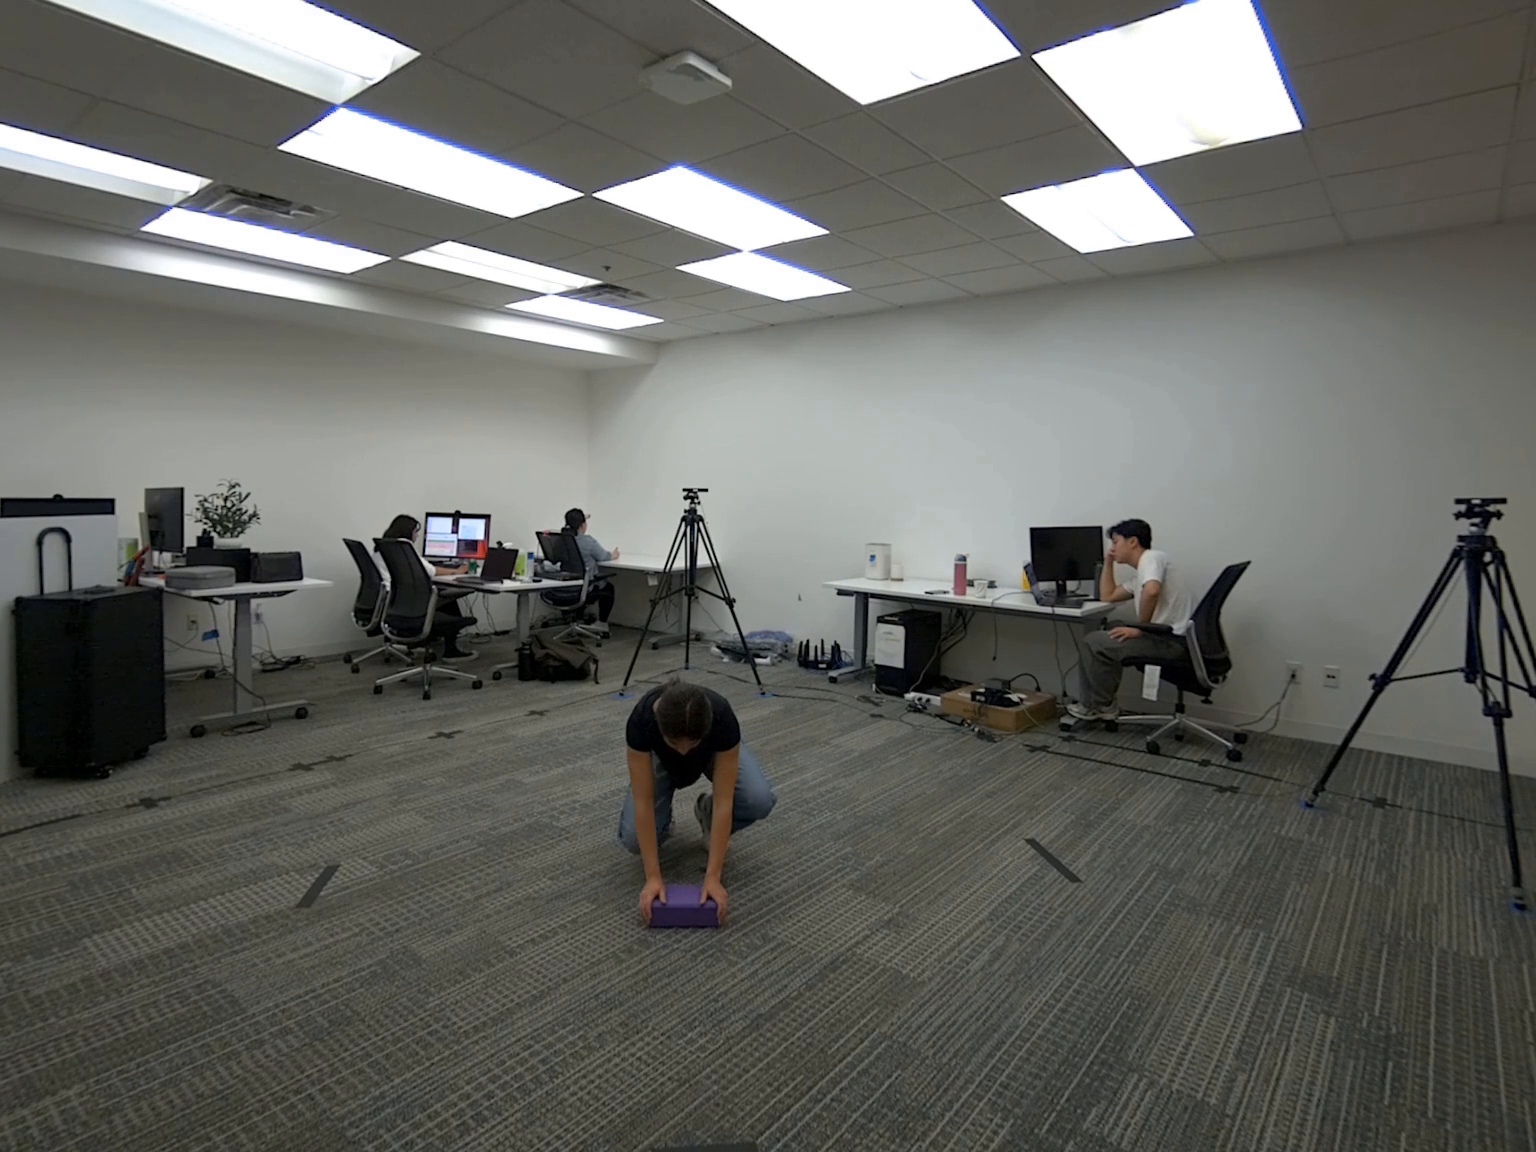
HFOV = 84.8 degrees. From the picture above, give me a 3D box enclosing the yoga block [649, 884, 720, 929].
[{"bbox_3d":[-0.272,1.068,2.753,0.229,0.076,0.150,0,6,-2],"label":"yoga block"}]
